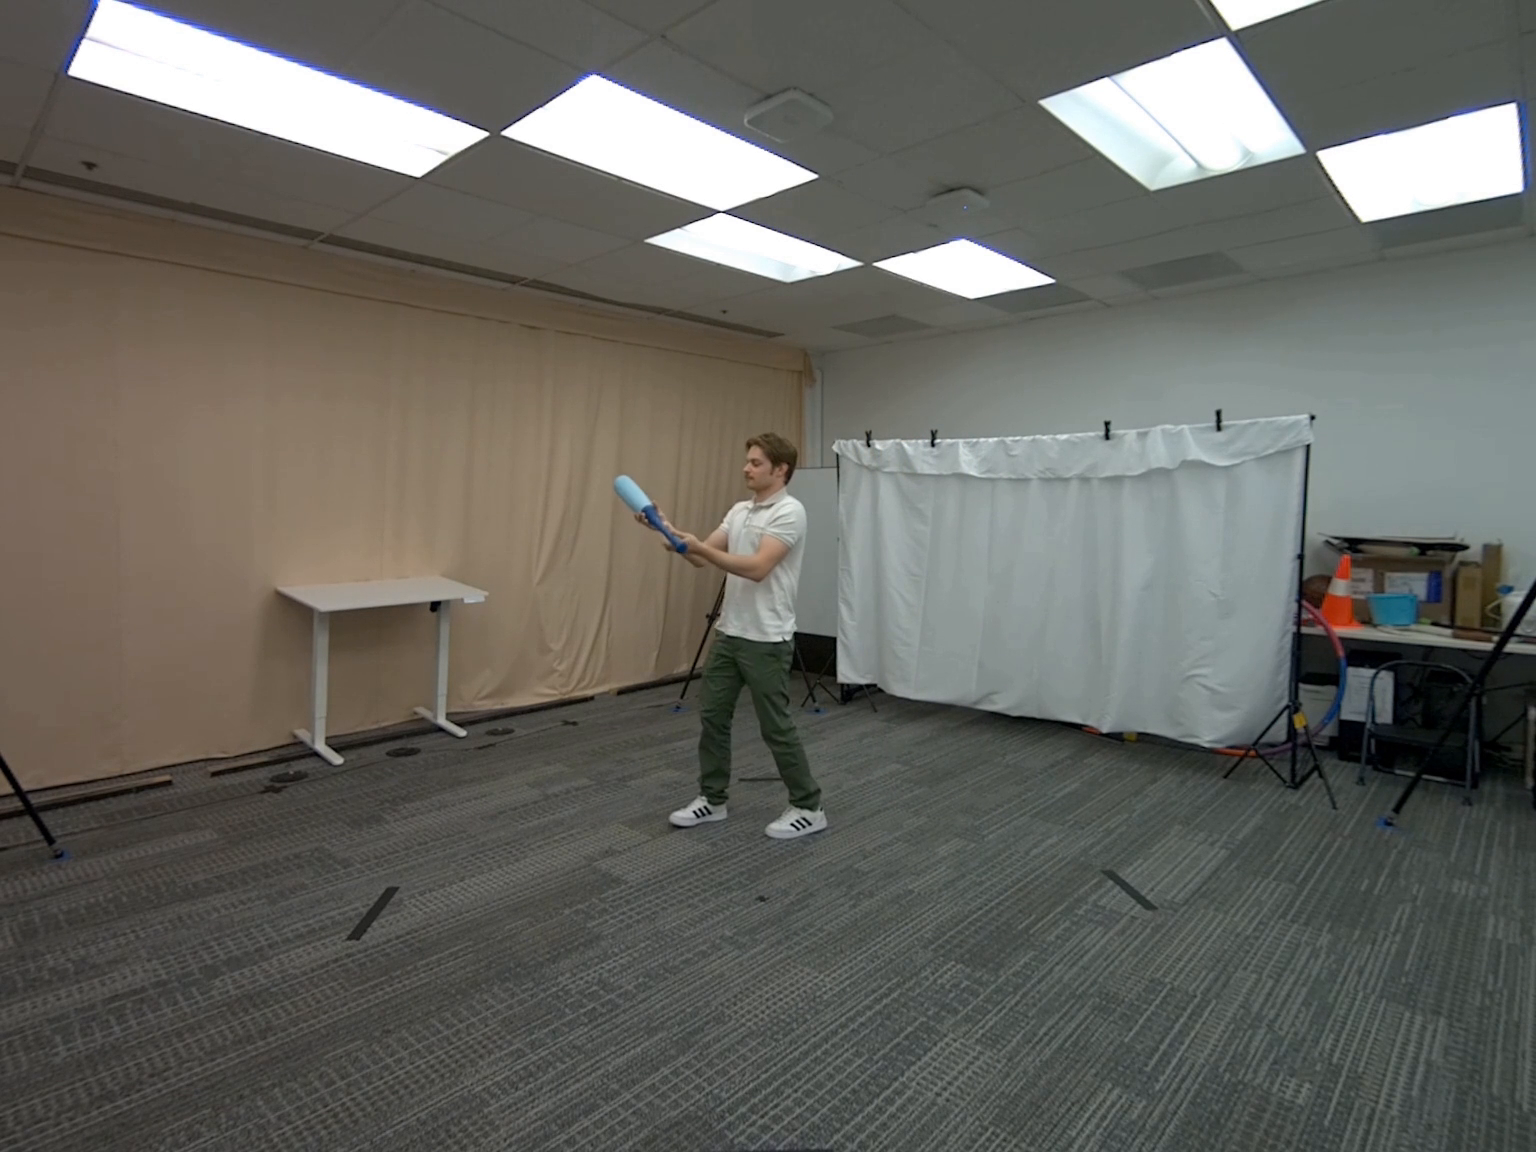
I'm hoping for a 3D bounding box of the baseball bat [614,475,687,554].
[{"bbox_3d":[-0.473,-0.250,3.446,0.086,0.088,0.562,-3,34,-35],"label":"baseball bat"}]
